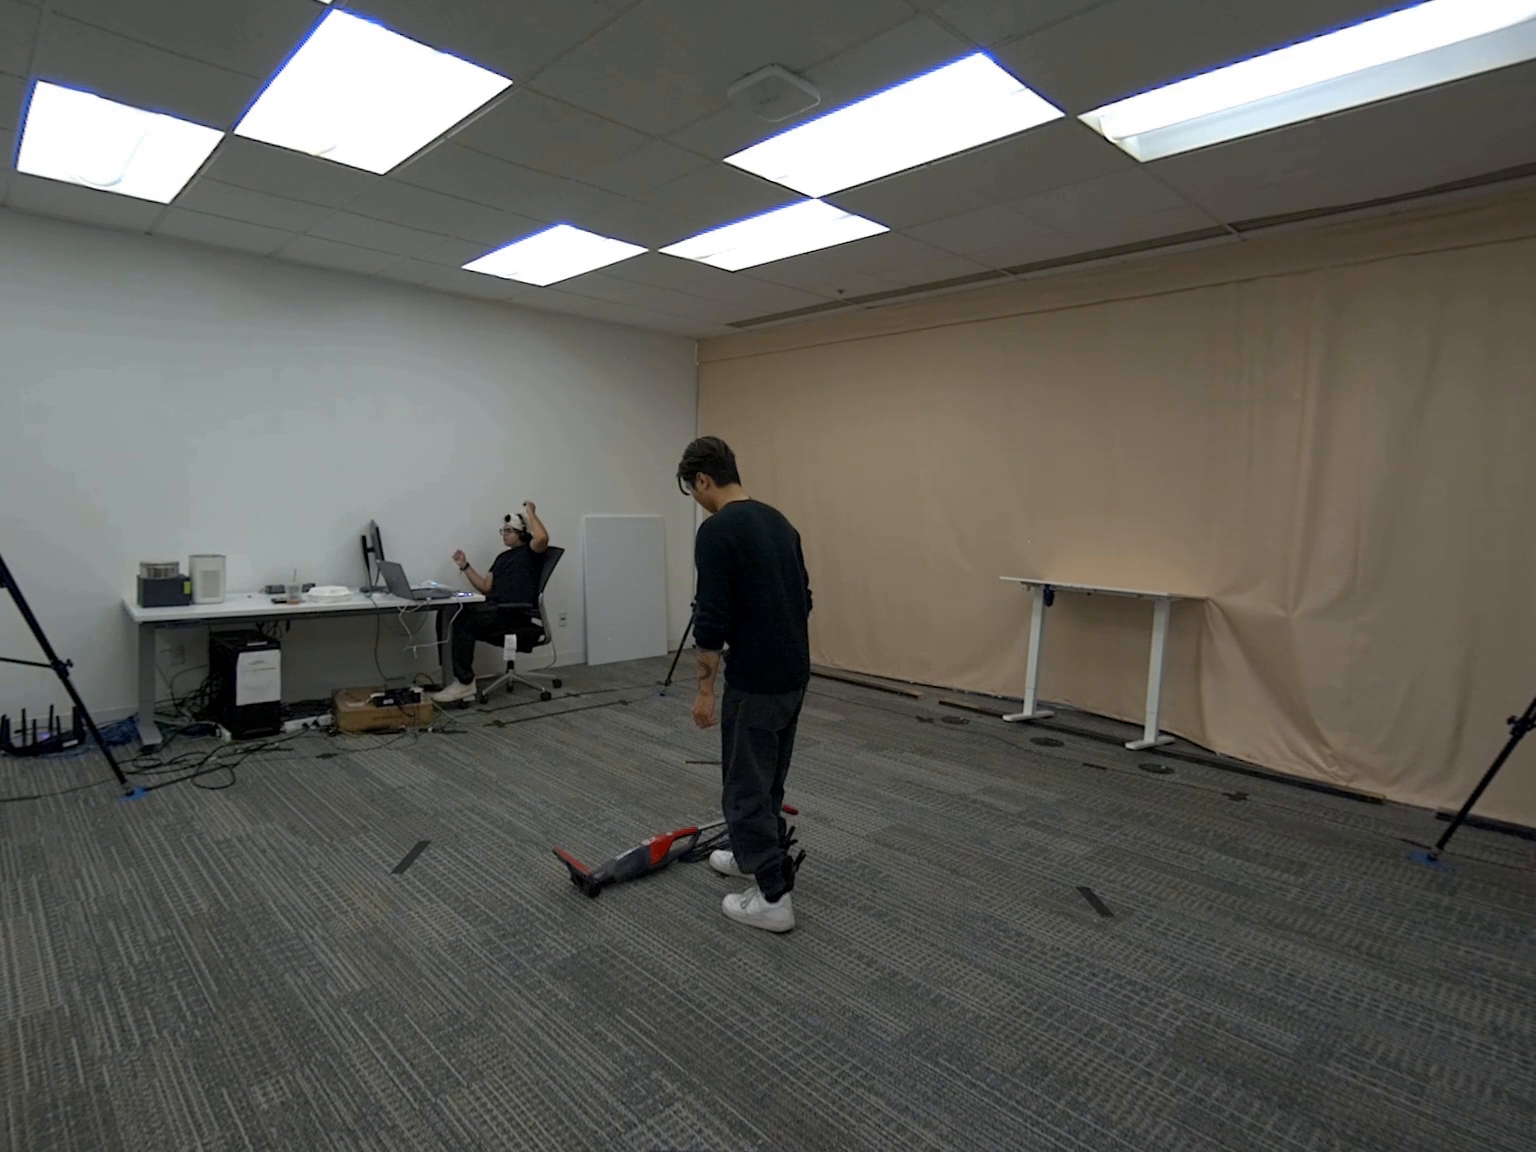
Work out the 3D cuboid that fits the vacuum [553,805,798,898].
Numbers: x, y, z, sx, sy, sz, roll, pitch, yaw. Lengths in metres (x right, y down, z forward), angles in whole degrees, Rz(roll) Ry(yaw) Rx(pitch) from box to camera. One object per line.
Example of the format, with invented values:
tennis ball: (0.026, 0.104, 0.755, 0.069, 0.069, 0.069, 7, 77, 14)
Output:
vacuum: (-0.282, 1.027, 3.267, 1.025, 0.143, 0.259, -2, 9, -40)
